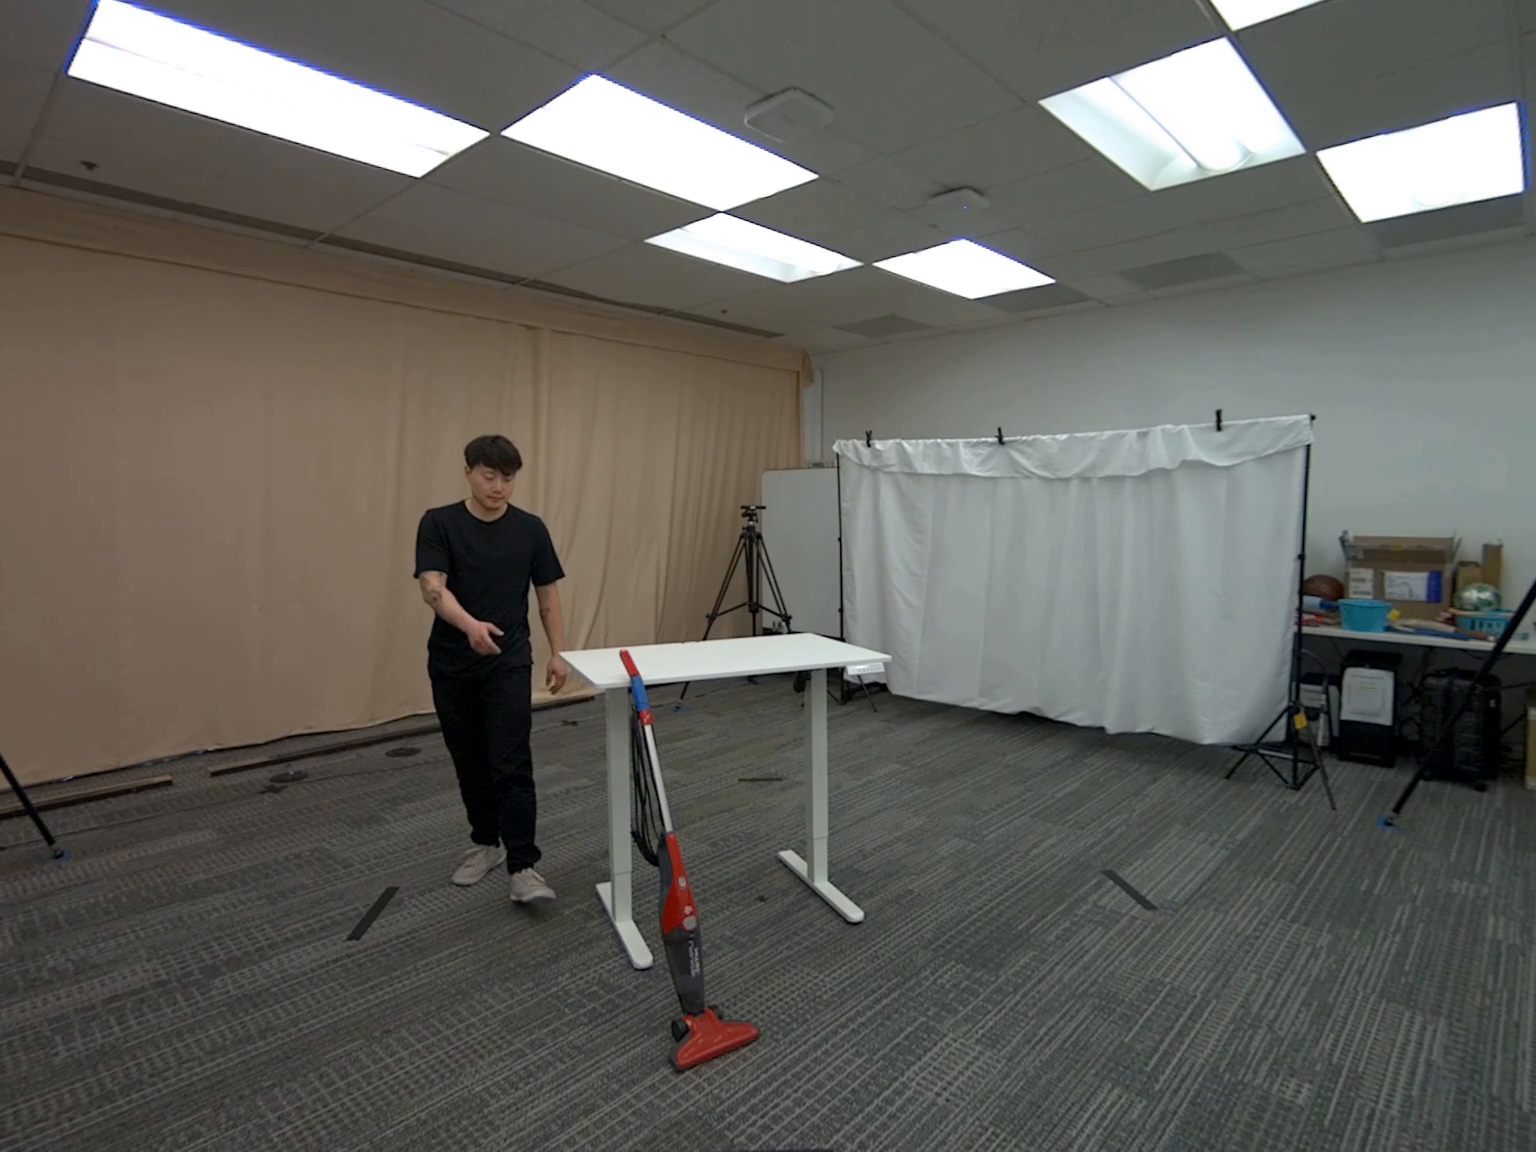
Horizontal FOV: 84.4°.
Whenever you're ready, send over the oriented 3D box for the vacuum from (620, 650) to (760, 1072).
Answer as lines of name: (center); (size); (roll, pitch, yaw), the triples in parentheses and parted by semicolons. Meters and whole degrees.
vacuum: (-0.290, 0.720, 2.344); (0.245, 1.065, 0.146); (-1, -22, -39)
